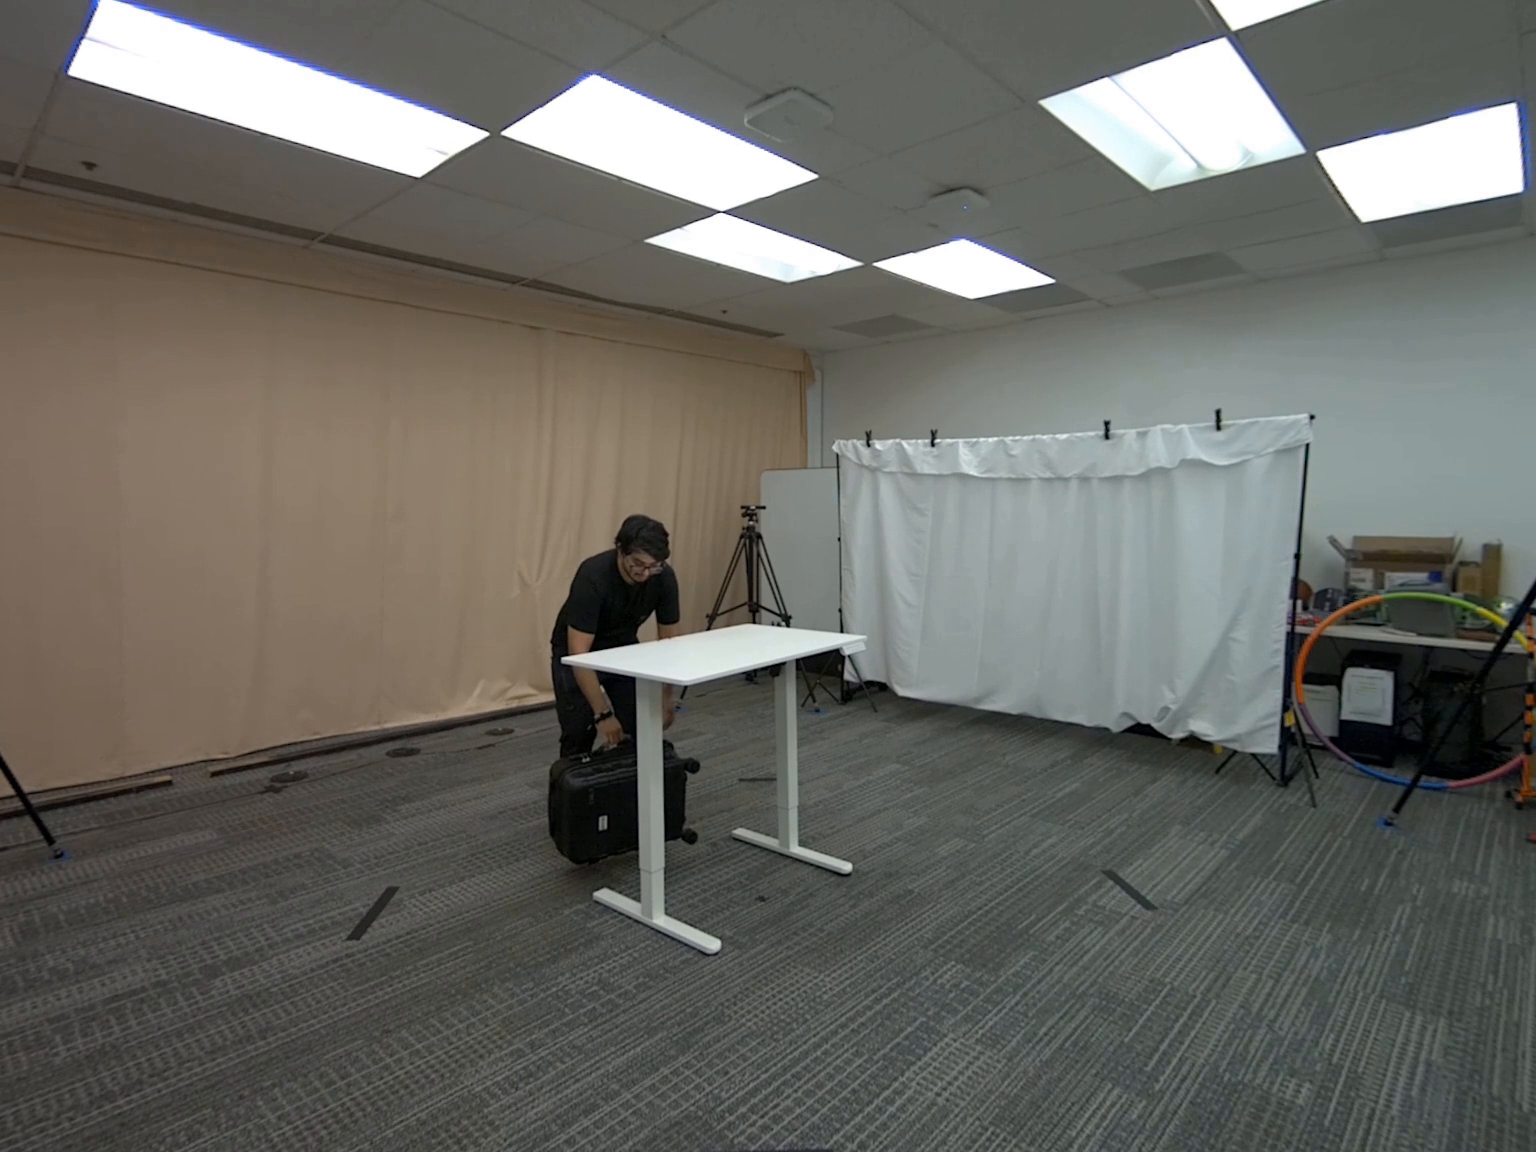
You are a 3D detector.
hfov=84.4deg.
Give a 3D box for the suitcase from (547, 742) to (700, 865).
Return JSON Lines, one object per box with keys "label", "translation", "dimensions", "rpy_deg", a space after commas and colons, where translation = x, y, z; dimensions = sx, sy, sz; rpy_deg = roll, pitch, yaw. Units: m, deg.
{"label": "suitcase", "translation": [-0.565, 0.855, 3.231], "dimensions": [0.534, 0.373, 0.257], "rpy_deg": [-2, 10, -33]}
